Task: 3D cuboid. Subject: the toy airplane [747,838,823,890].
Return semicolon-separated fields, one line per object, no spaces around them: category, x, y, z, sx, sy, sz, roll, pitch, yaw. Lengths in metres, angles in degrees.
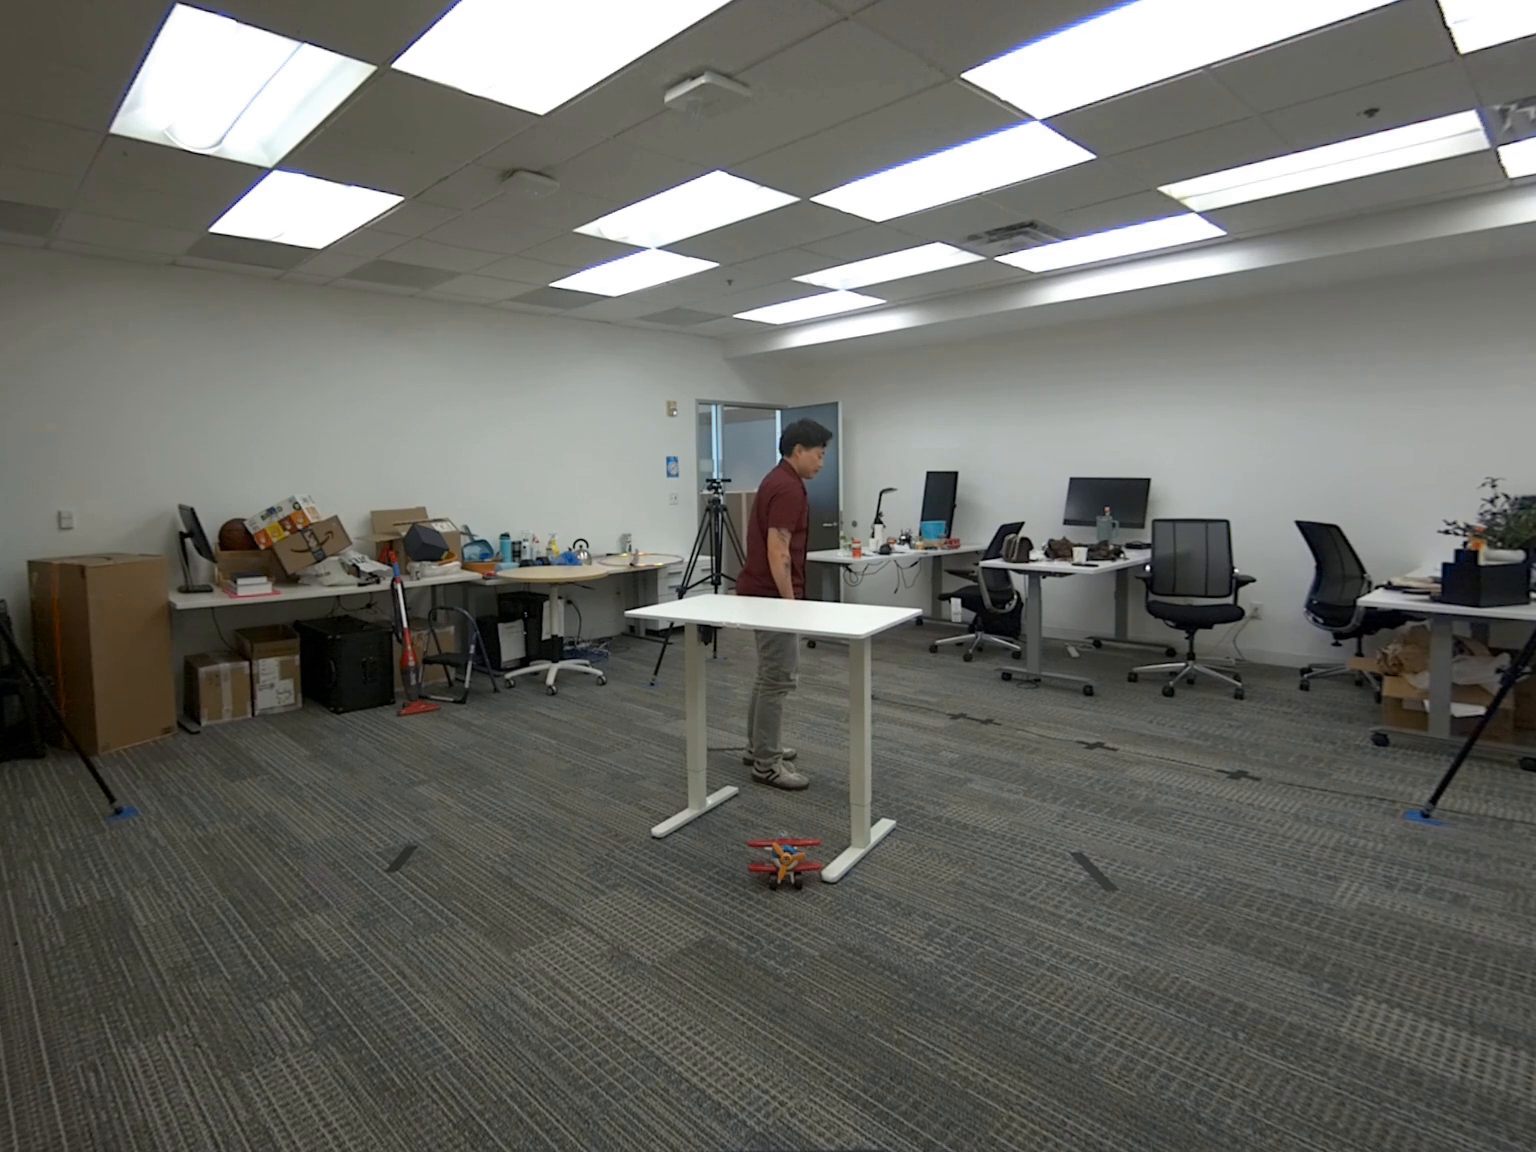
toy airplane;0.040;0.981;2.989;0.245;0.156;0.267;-3;7;-29
